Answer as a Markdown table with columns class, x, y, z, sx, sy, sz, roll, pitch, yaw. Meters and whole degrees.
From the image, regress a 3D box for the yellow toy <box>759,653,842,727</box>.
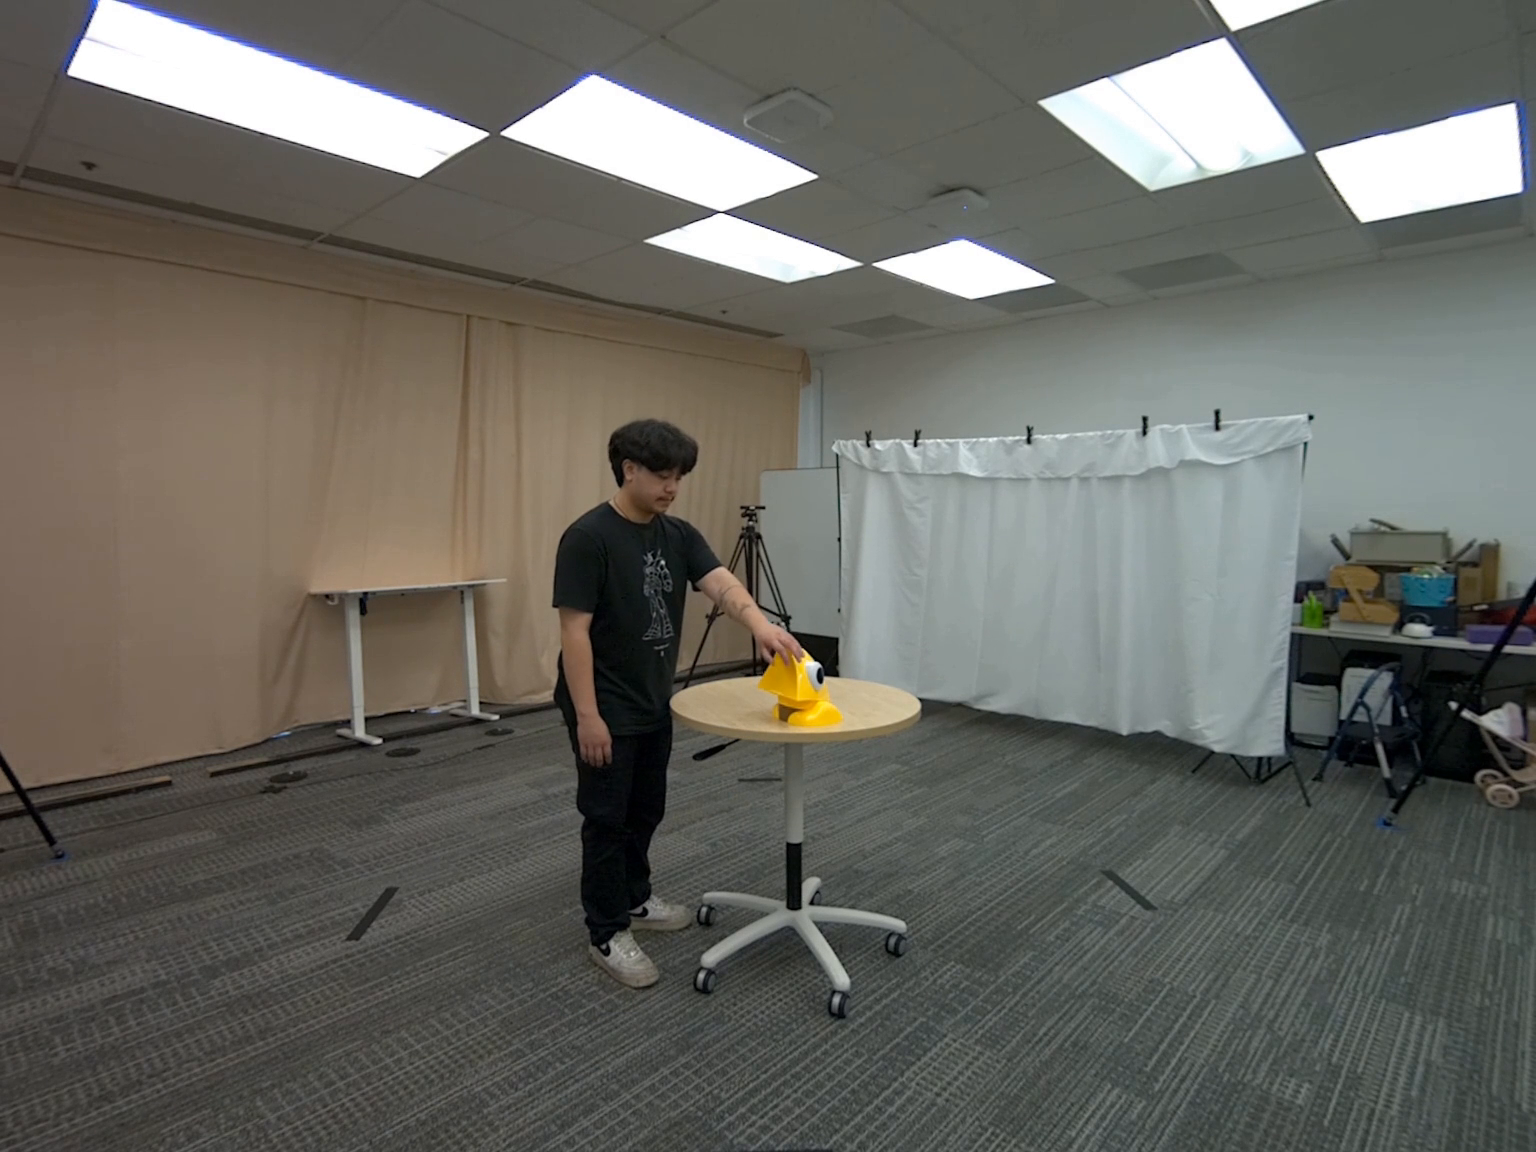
| class | x | y | z | sx | sy | sz | roll | pitch | yaw |
| --- | --- | --- | --- | --- | --- | --- | --- | --- | --- |
| yellow toy | 0.103 | 0.286 | 2.370 | 0.188 | 0.230 | 0.211 | -1 | 4 | -31 |
